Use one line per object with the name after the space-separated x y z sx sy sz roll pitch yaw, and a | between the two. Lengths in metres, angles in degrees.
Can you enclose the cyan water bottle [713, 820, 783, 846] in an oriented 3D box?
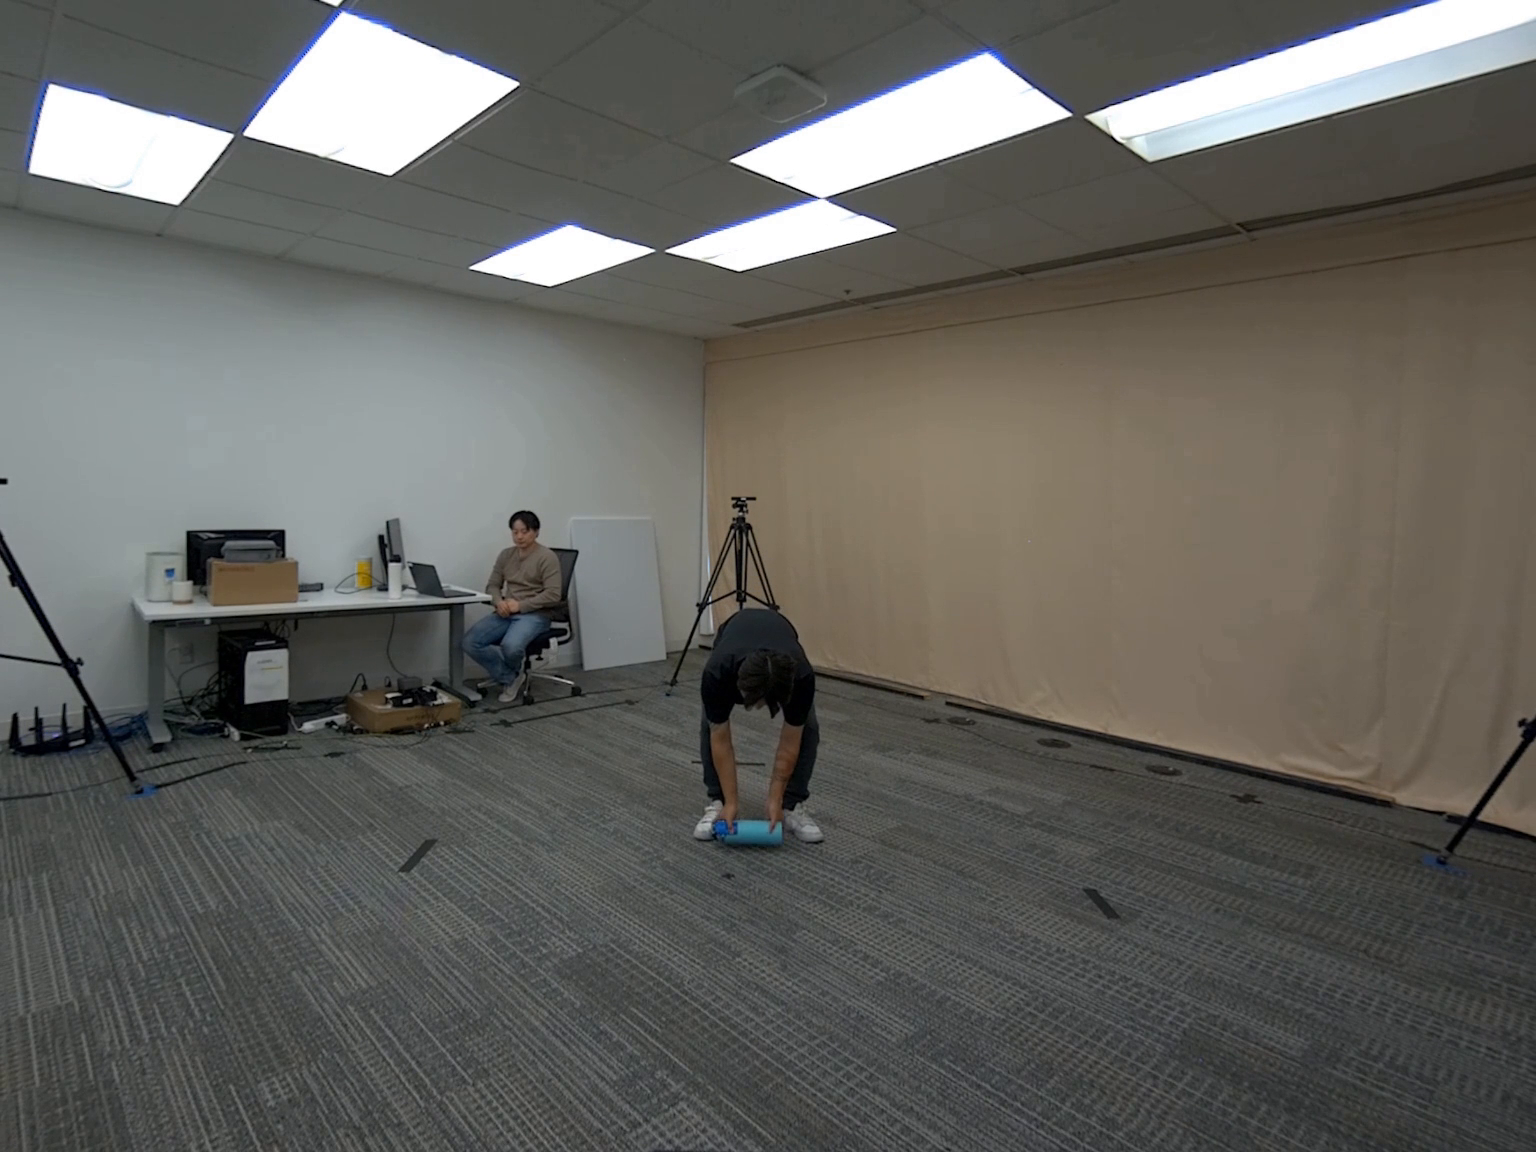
-0.104 1.018 3.346 0.283 0.092 0.092 2 4 0 | cyan water bottle
